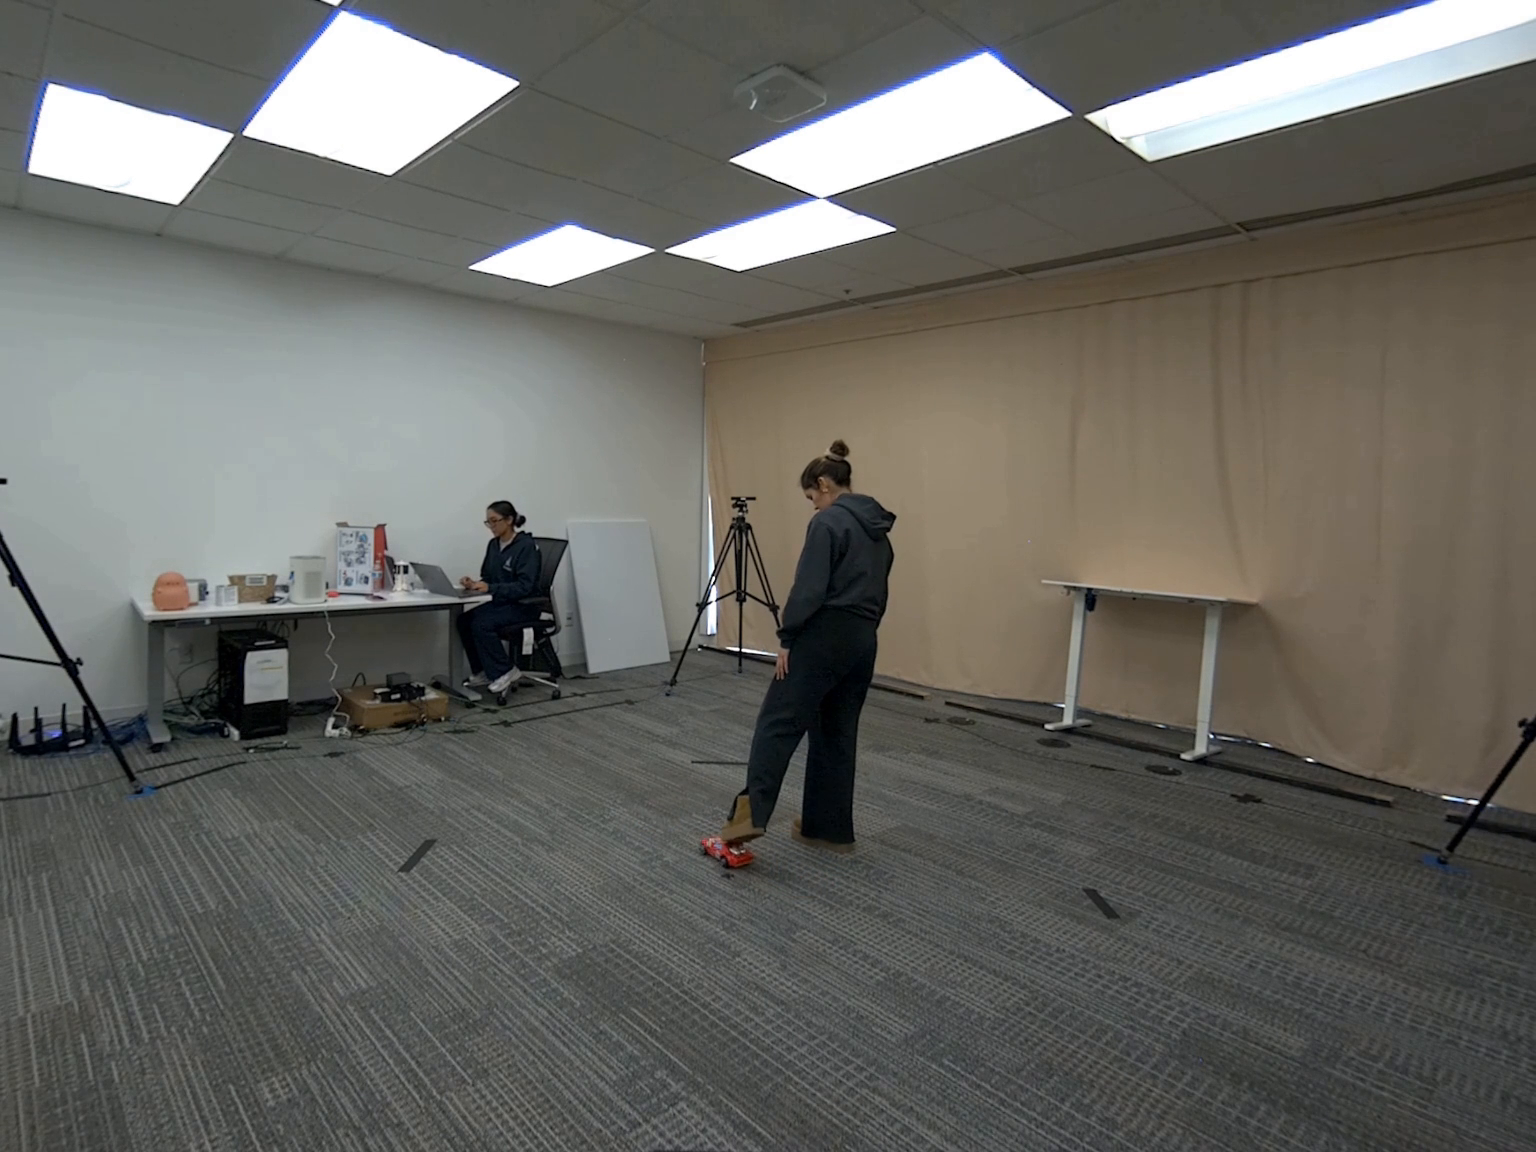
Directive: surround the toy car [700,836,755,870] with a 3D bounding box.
[{"bbox_3d":[-0.162,1.062,3.249,0.127,0.083,0.259,-1,-4,-38],"label":"toy car"}]
